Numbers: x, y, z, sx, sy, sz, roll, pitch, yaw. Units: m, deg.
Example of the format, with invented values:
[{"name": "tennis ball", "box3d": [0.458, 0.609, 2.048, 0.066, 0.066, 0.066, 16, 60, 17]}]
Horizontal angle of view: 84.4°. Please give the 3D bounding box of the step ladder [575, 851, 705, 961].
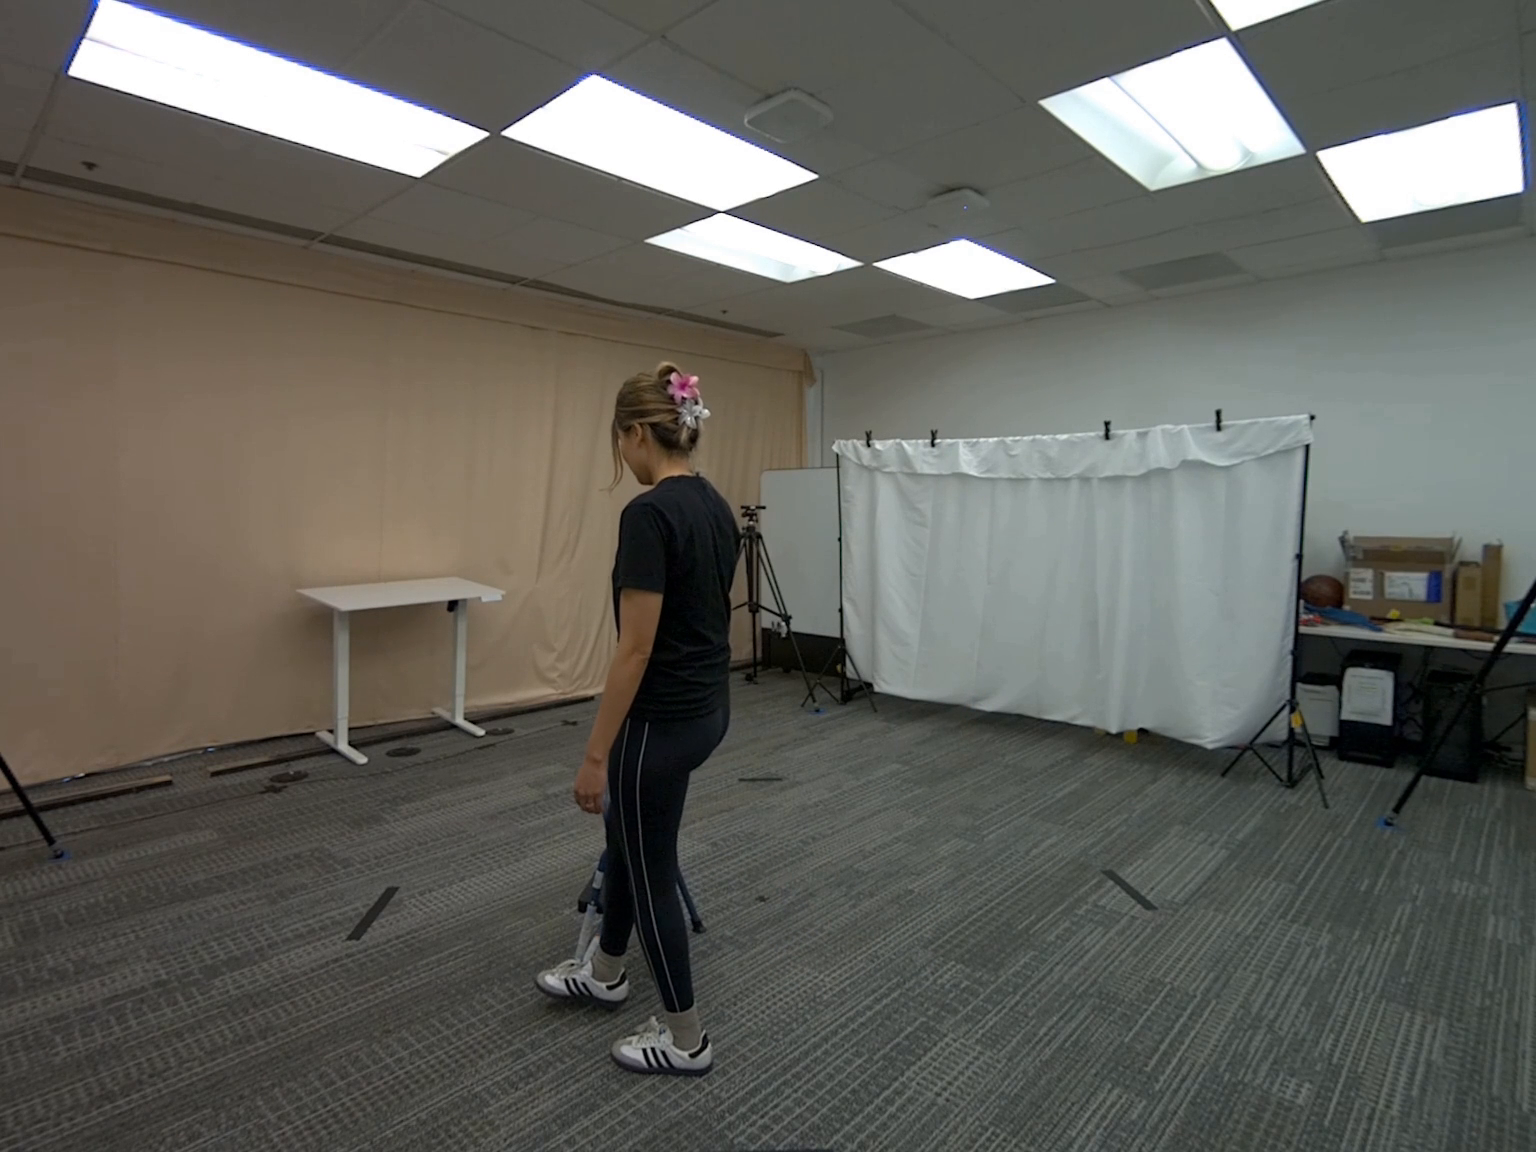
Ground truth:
[{"name": "step ladder", "box3d": [-0.394, 0.885, 2.569, 0.352, 0.605, 0.429, 1, 3, 5]}]
